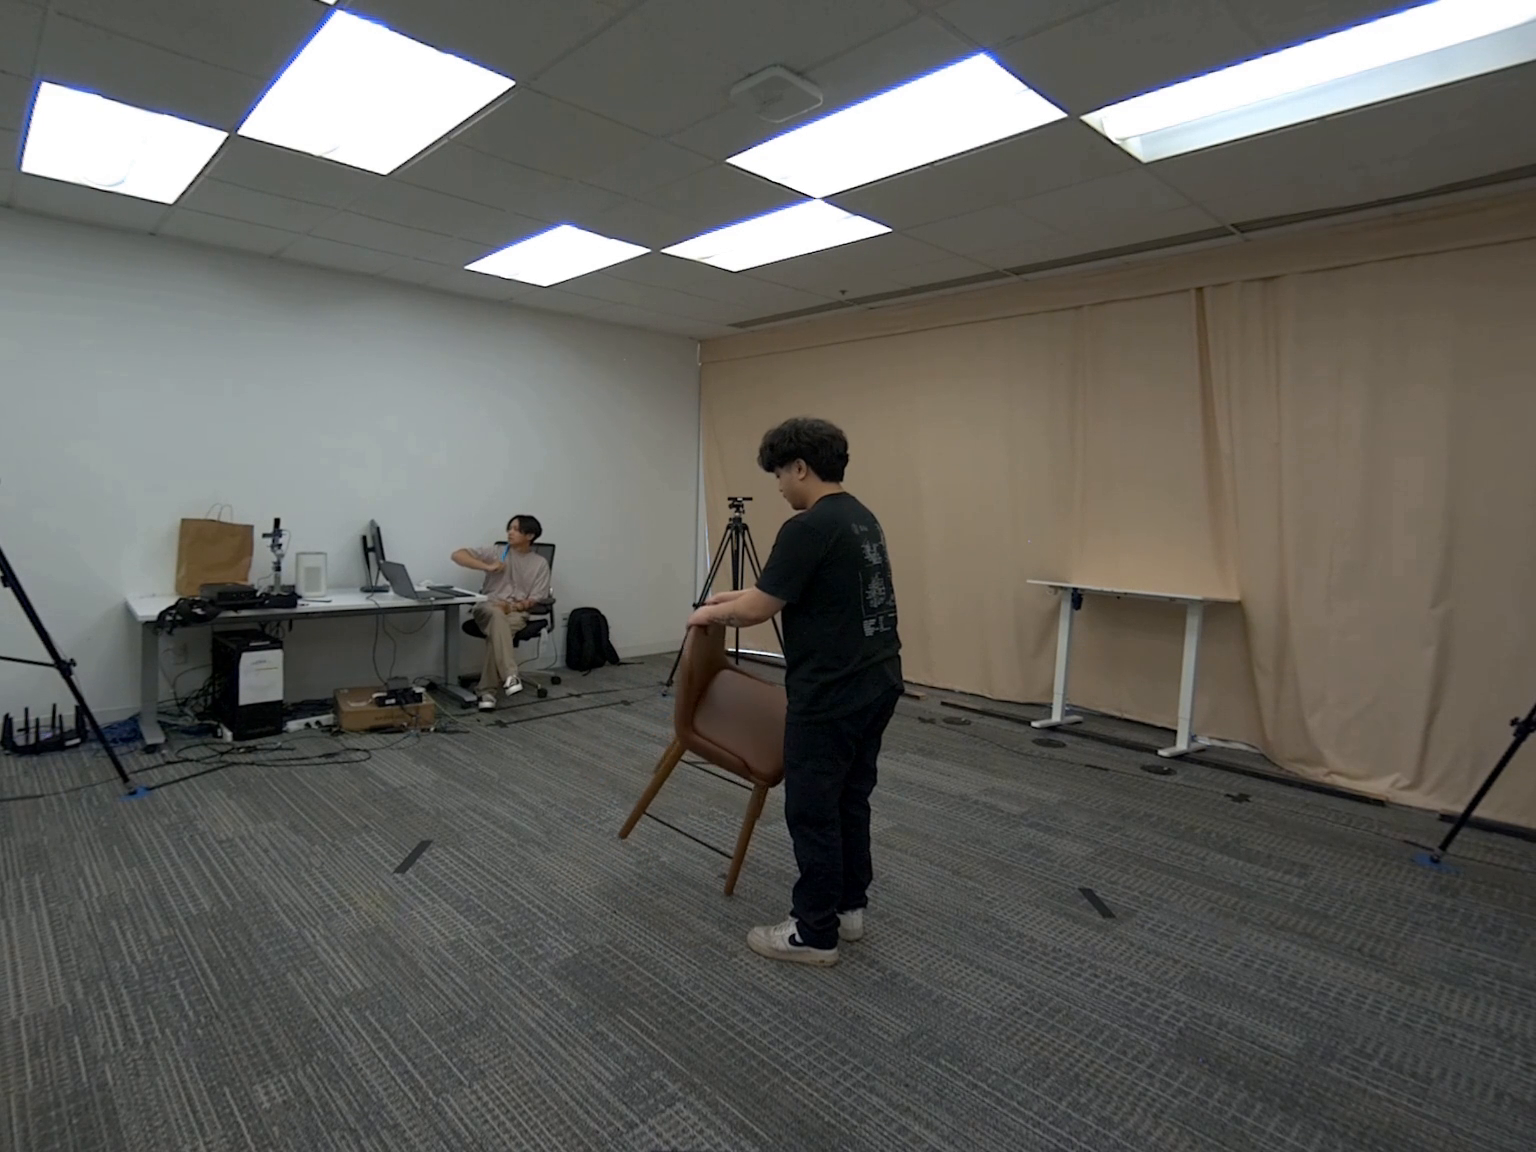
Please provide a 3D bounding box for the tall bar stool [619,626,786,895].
[{"bbox_3d":[-0.154,0.598,2.934,0.471,0.880,0.458,22,29,6],"label":"tall bar stool"}]
